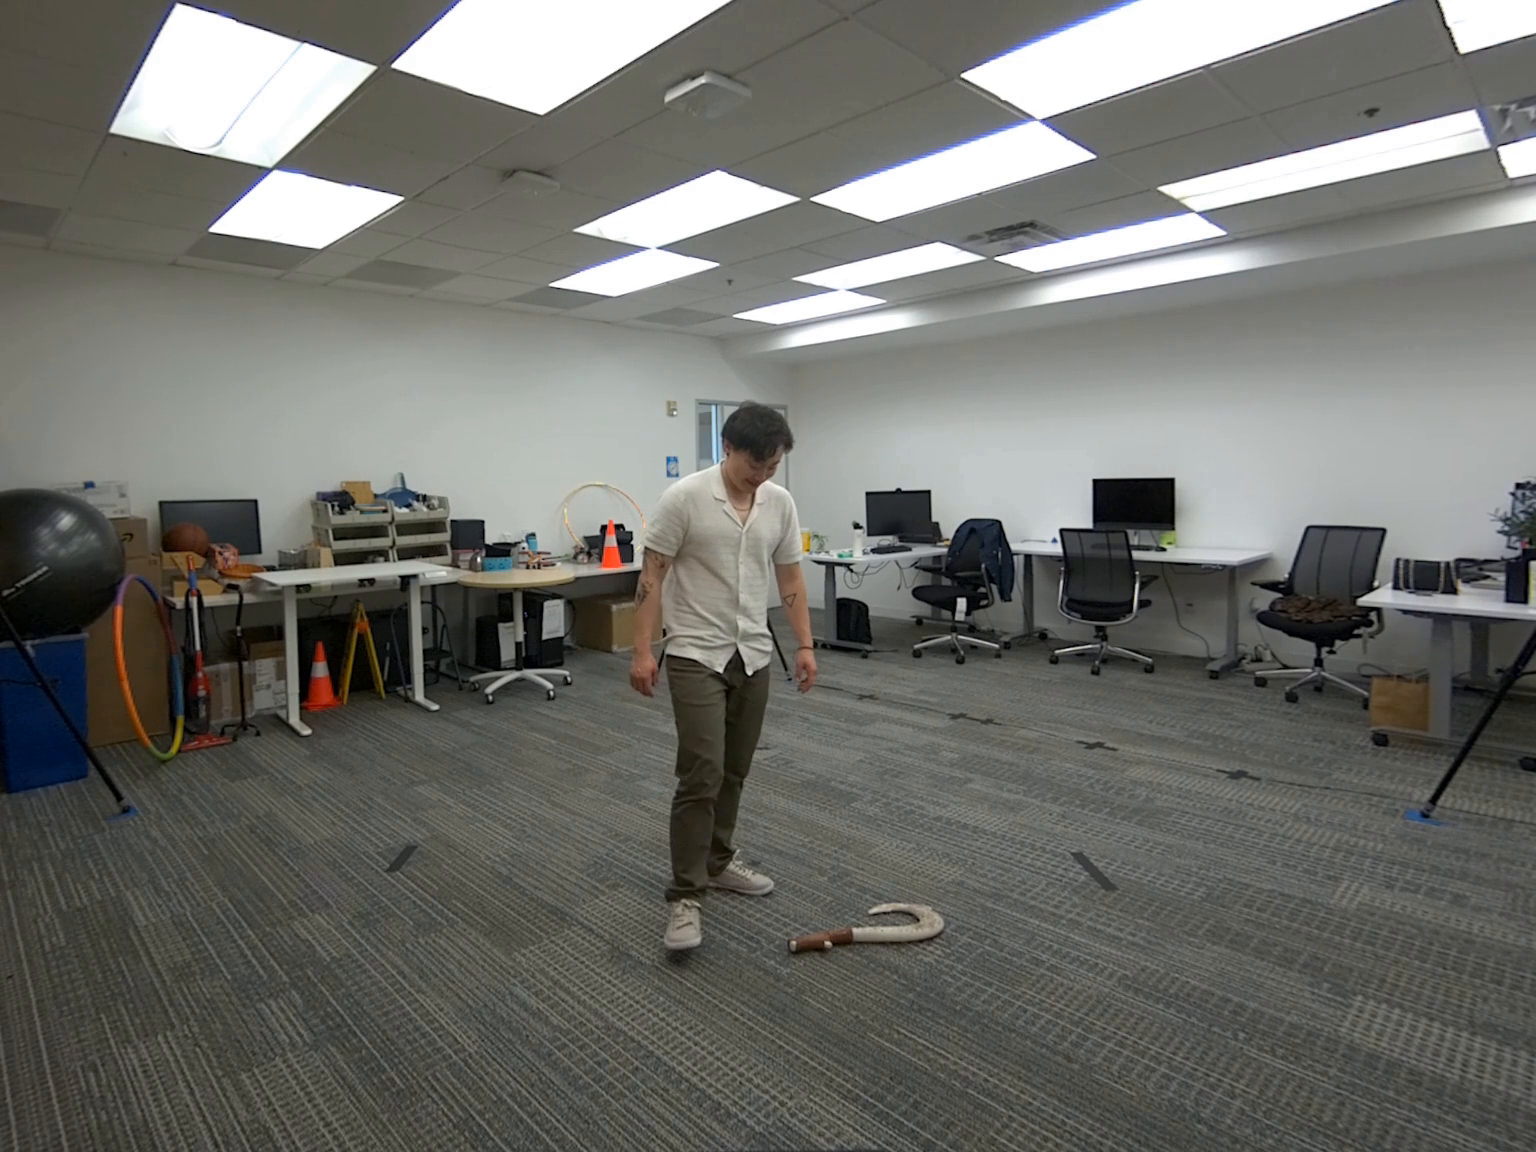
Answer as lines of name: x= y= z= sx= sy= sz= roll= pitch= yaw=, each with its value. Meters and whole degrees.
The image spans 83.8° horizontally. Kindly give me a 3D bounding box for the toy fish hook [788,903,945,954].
toy fish hook: x=0.294 y=1.076 z=2.625 sx=0.500 sy=0.048 sz=0.227 roll=-2 pitch=-1 yaw=-14
